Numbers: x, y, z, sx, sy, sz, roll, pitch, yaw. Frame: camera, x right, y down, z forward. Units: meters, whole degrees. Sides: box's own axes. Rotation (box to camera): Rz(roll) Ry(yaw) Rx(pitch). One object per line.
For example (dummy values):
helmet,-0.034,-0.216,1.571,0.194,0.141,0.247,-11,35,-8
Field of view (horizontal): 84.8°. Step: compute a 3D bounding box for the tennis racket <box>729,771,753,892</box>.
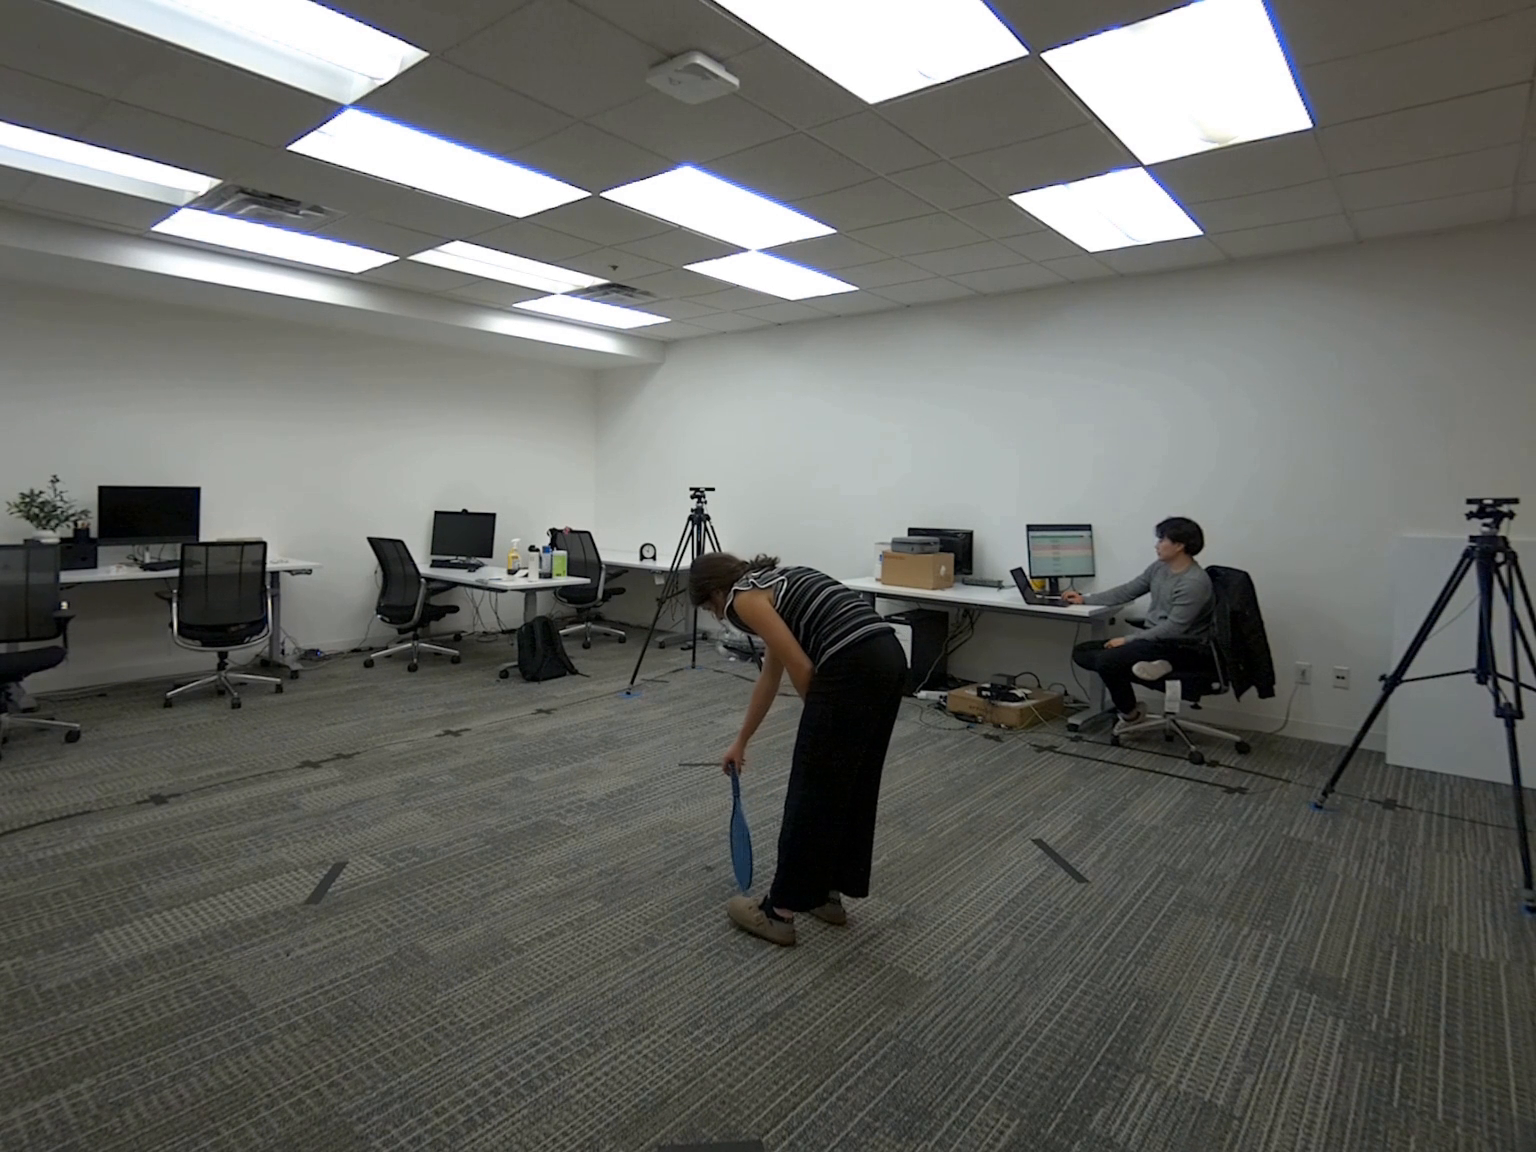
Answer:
tennis racket,-0.111,0.869,2.975,0.031,0.438,0.215,-1,-11,-17
